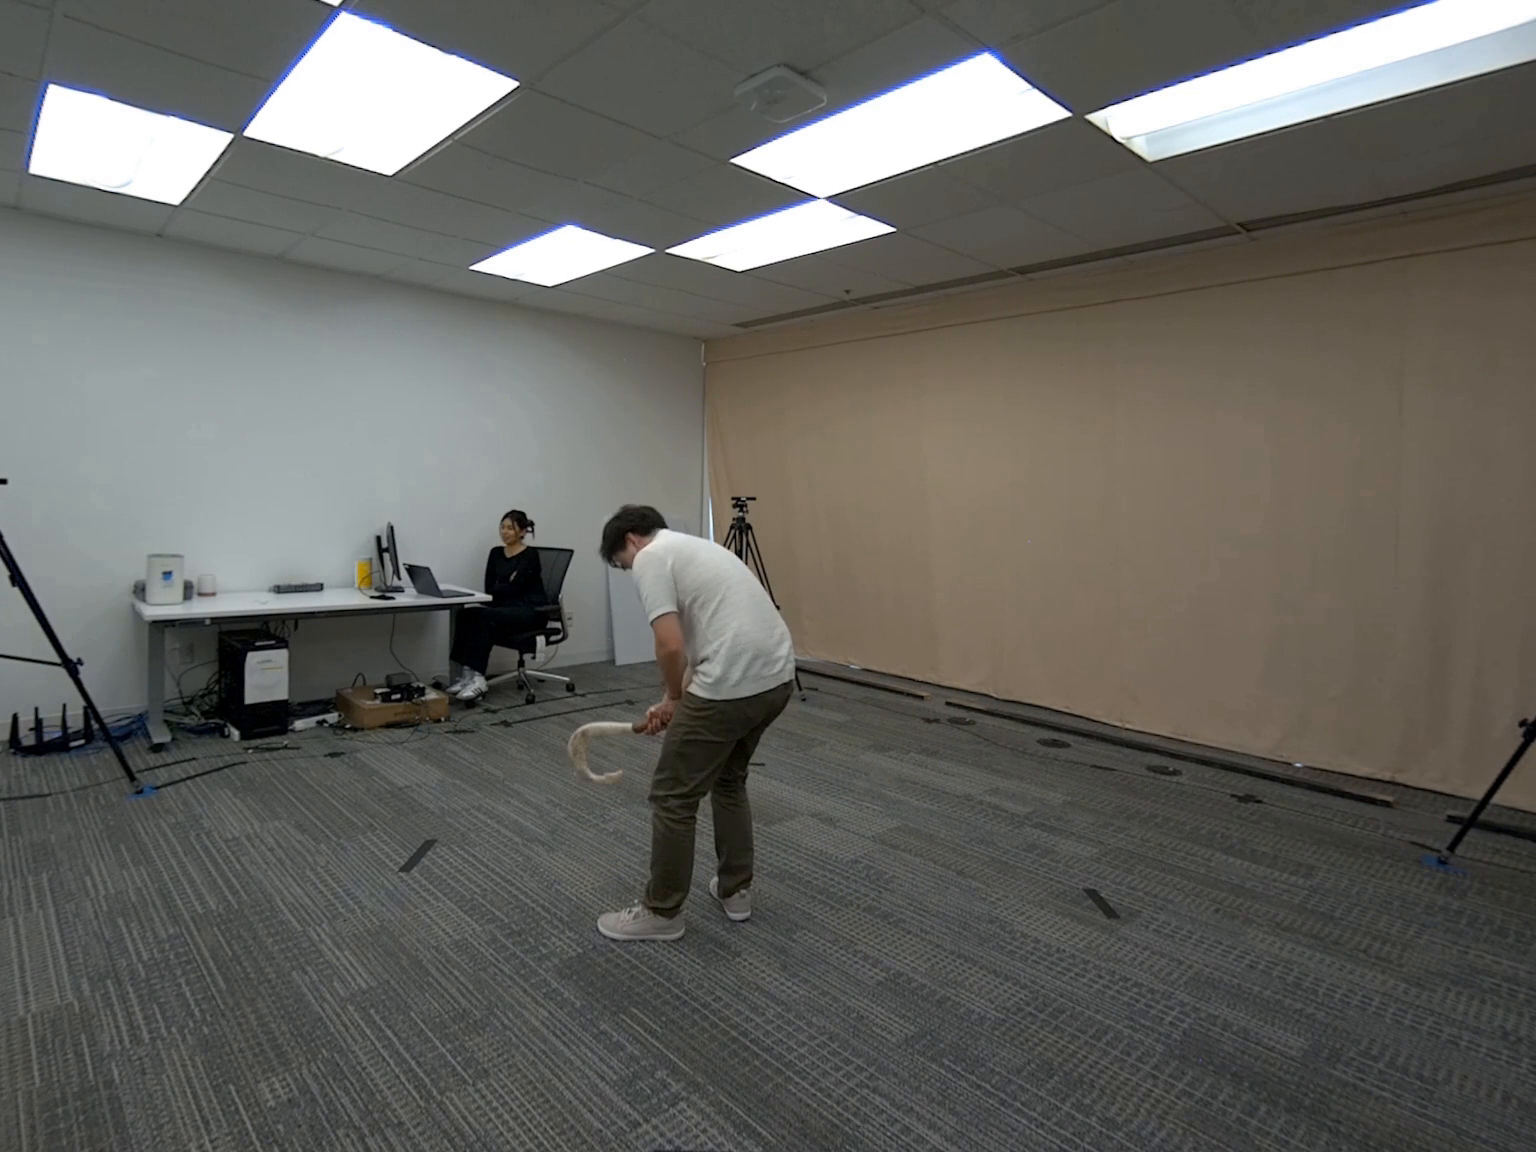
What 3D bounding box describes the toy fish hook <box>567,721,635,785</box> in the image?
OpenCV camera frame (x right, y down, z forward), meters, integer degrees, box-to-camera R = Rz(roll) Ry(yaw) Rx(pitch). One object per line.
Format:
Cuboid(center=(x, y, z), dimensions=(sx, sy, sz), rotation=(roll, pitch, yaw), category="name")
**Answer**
Cuboid(center=(-0.499, 0.605, 2.964), dimensions=(0.512, 0.225, 0.048), rotation=(-21, -2, 24), category="toy fish hook")
